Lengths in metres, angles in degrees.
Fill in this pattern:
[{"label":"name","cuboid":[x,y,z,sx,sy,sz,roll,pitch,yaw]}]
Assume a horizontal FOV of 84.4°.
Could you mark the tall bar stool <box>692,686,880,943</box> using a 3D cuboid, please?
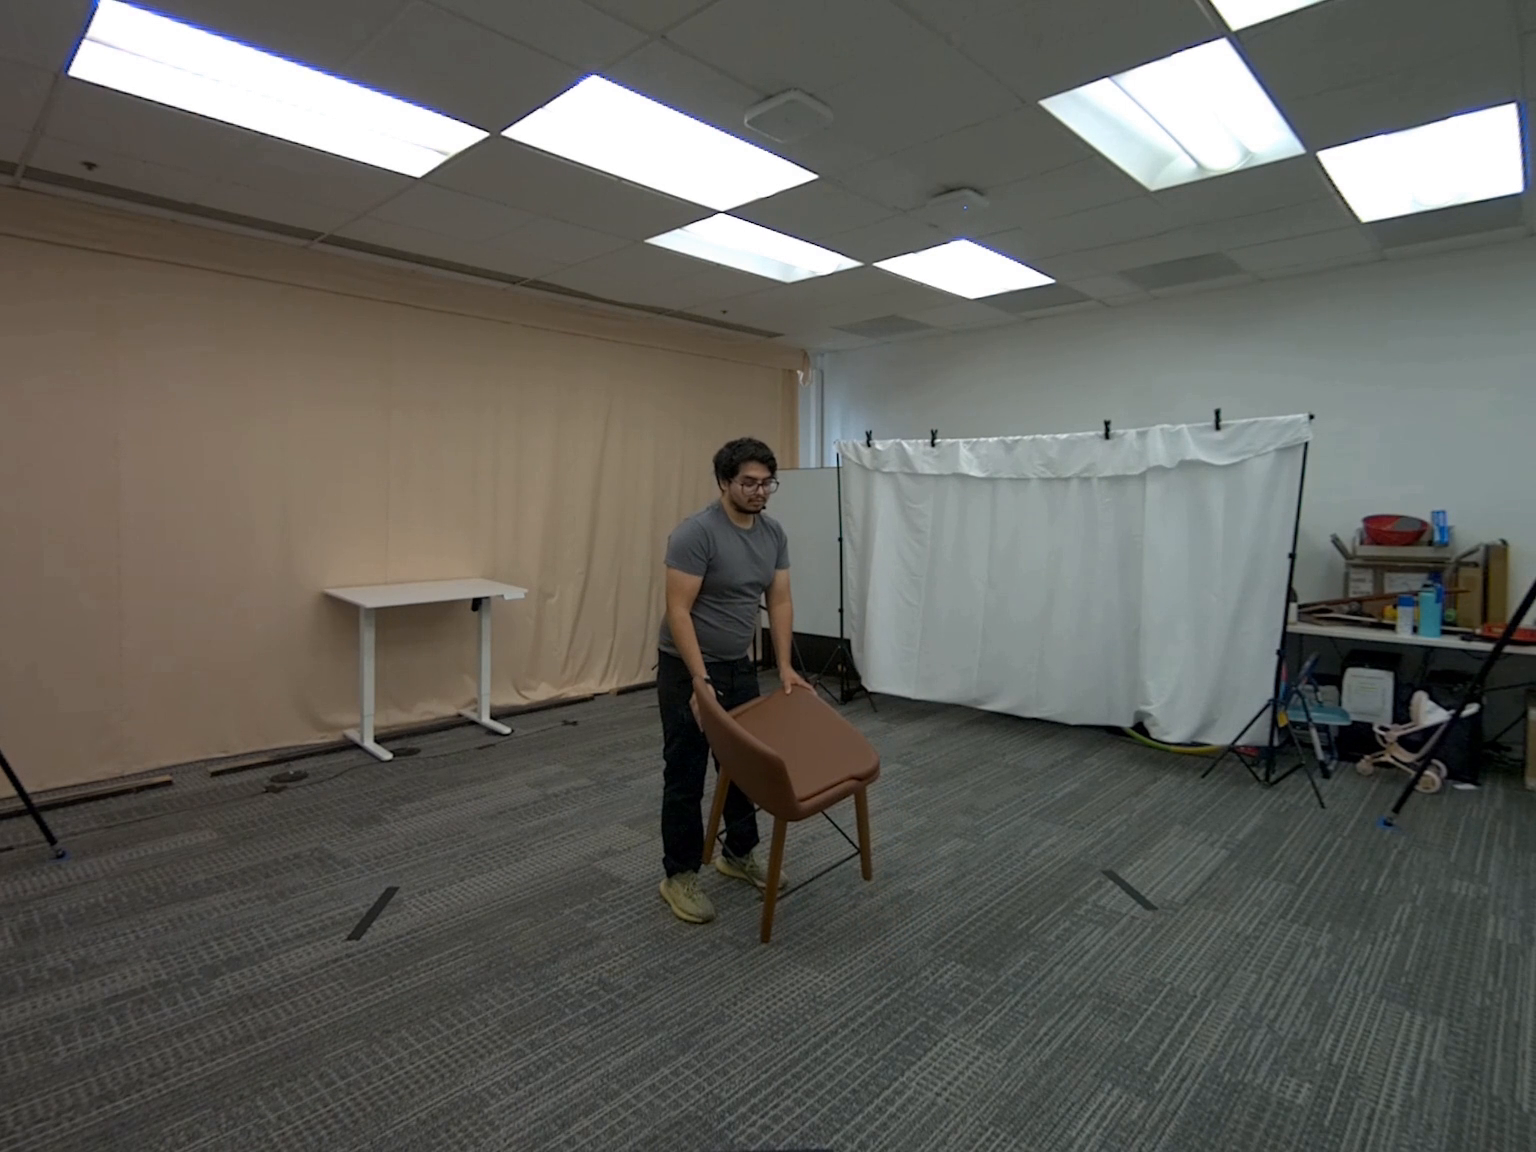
[{"label":"tall bar stool","cuboid":[0.066,0.658,2.663,0.459,0.873,0.473,-22,40,-27]}]
